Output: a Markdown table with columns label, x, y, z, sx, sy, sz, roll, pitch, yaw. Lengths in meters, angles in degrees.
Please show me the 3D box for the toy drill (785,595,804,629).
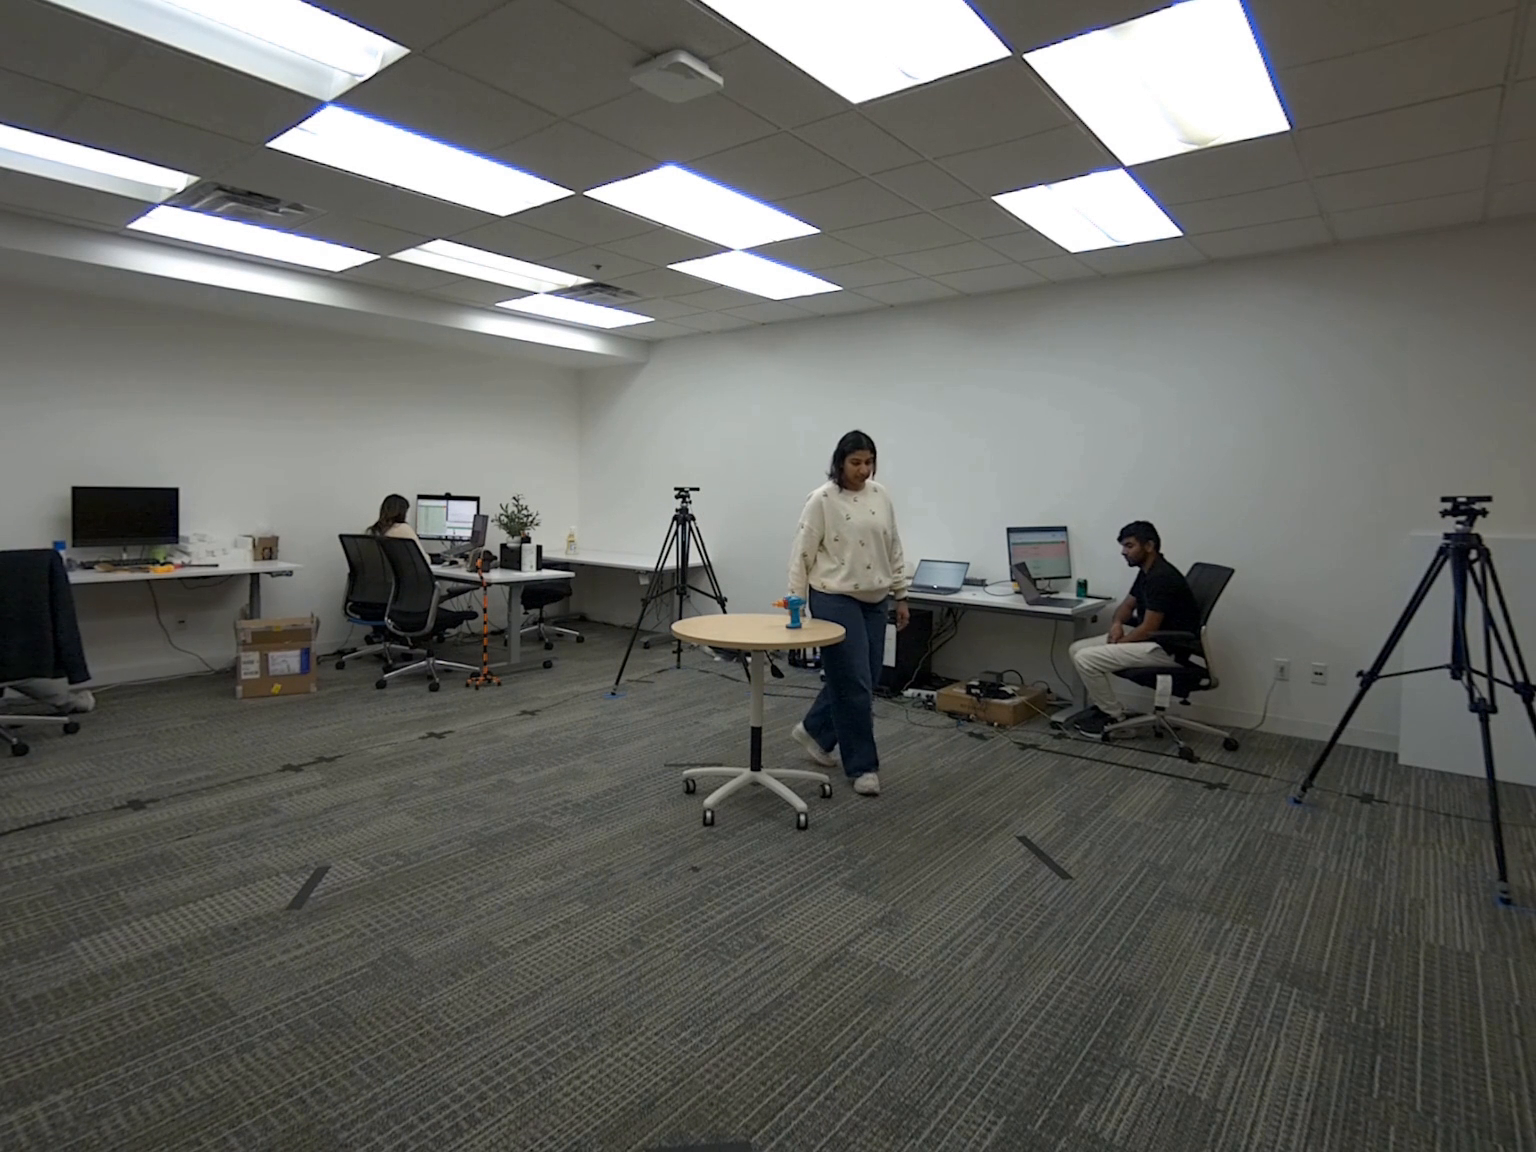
| label | x | y | z | sx | sy | sz | roll | pitch | yaw |
| --- | --- | --- | --- | --- | --- | --- | --- | --- | --- |
| toy drill | 0.078 | 0.154 | 3.729 | 0.165 | 0.145 | 0.063 | -2 | 6 | -30 |
